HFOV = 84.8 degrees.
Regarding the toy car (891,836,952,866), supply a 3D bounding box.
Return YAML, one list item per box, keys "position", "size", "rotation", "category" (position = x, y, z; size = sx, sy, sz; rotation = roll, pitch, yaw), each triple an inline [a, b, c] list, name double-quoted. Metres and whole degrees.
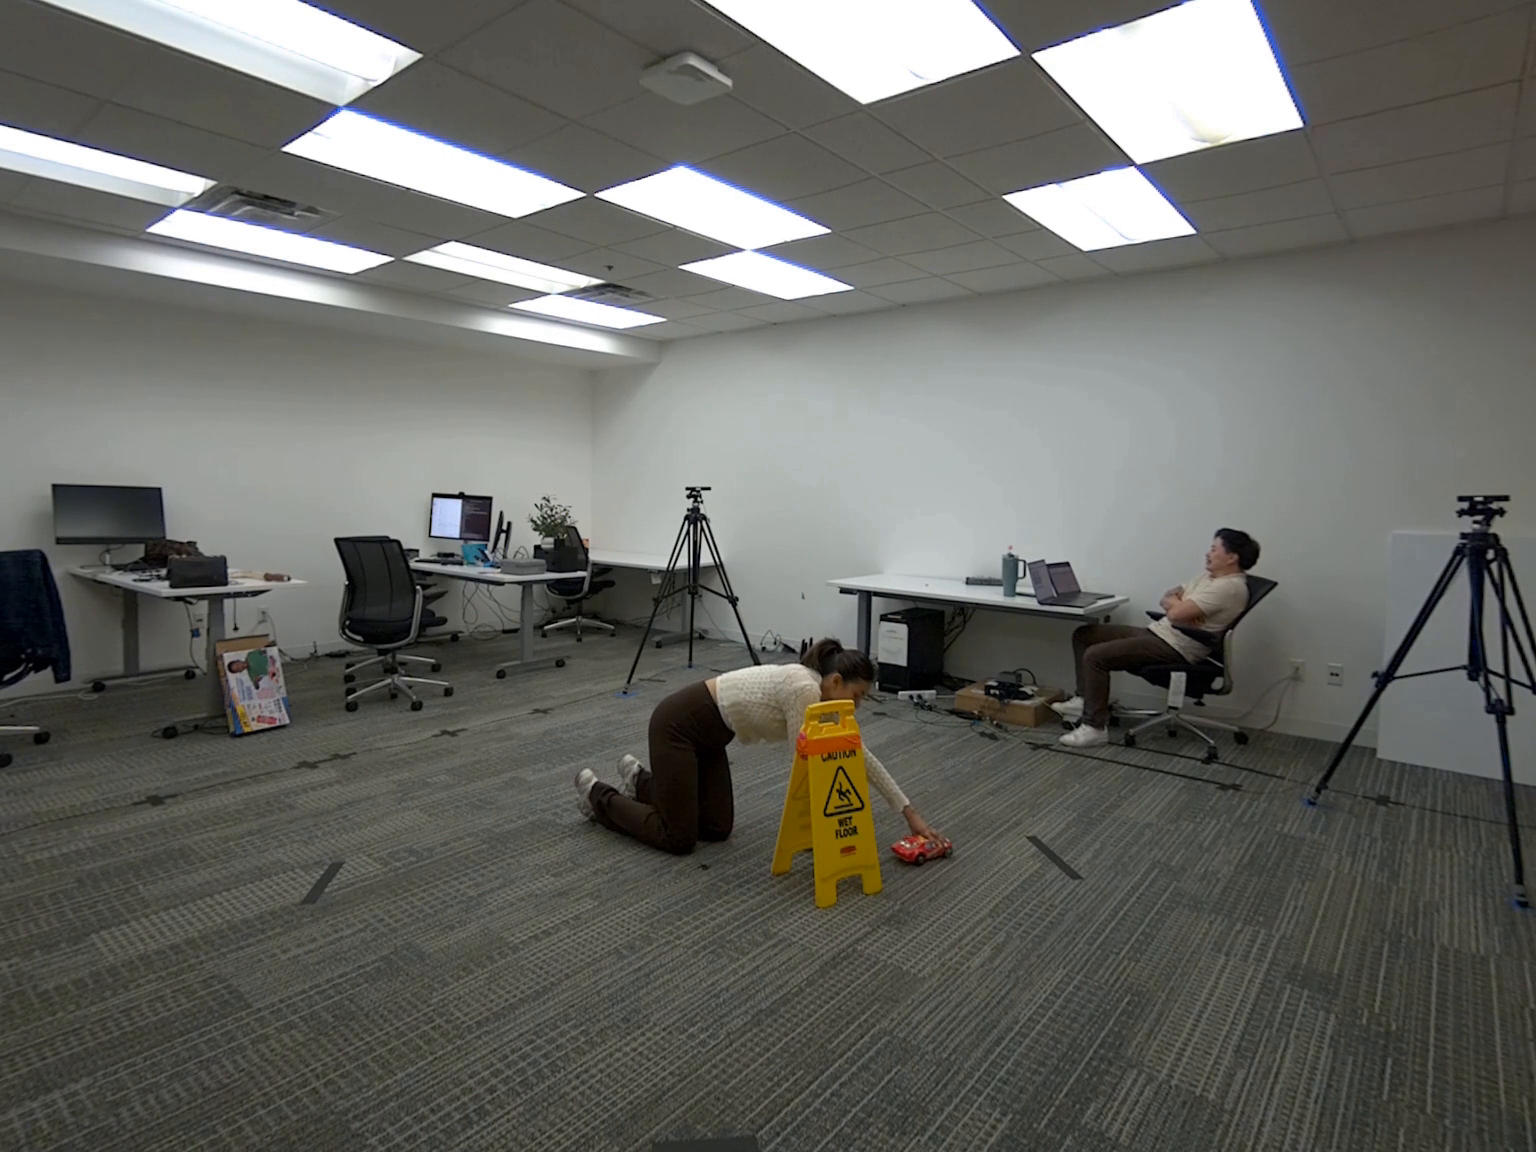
- position: [0.575, 1.033, 3.235]
  size: [0.247, 0.083, 0.134]
  rotation: [13, 0, -27]
  category: "toy car"
